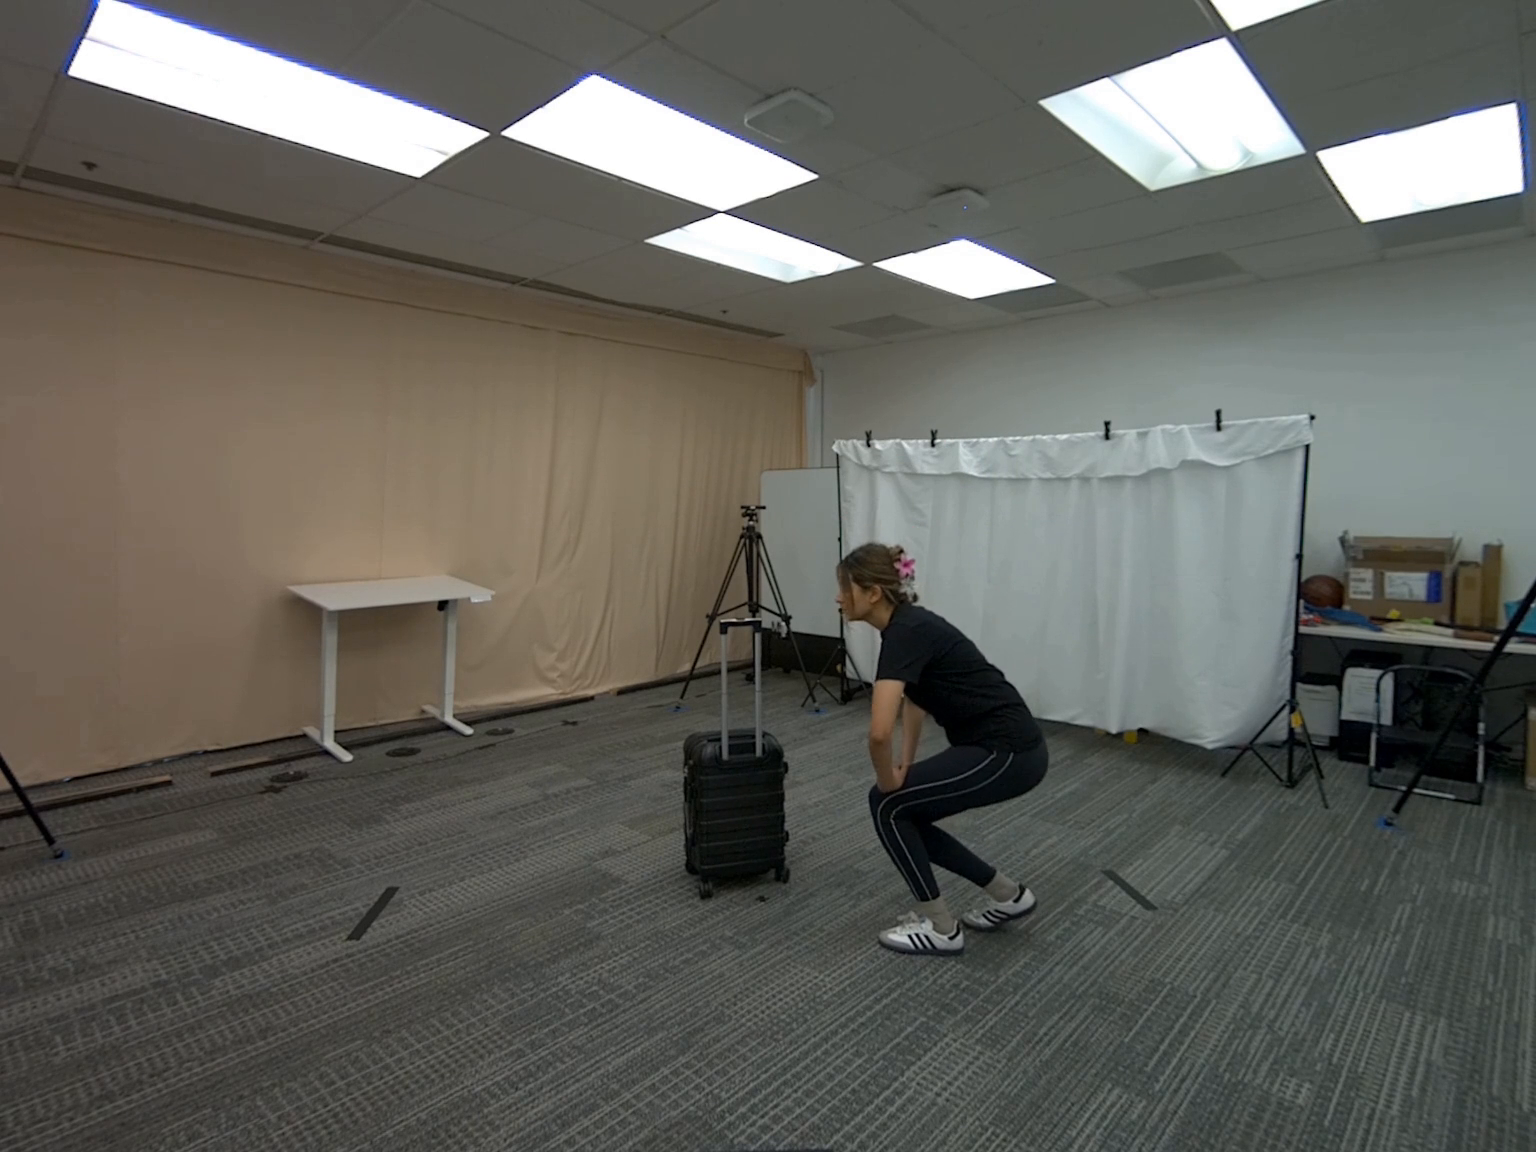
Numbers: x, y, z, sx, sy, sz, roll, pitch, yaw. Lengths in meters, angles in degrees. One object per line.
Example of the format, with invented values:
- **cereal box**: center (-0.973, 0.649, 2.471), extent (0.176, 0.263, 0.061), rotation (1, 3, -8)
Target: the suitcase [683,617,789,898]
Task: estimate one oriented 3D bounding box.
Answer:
- **suitcase**: center (-0.132, 0.653, 3.143), extent (0.378, 0.978, 0.261), rotation (-1, 0, -16)
